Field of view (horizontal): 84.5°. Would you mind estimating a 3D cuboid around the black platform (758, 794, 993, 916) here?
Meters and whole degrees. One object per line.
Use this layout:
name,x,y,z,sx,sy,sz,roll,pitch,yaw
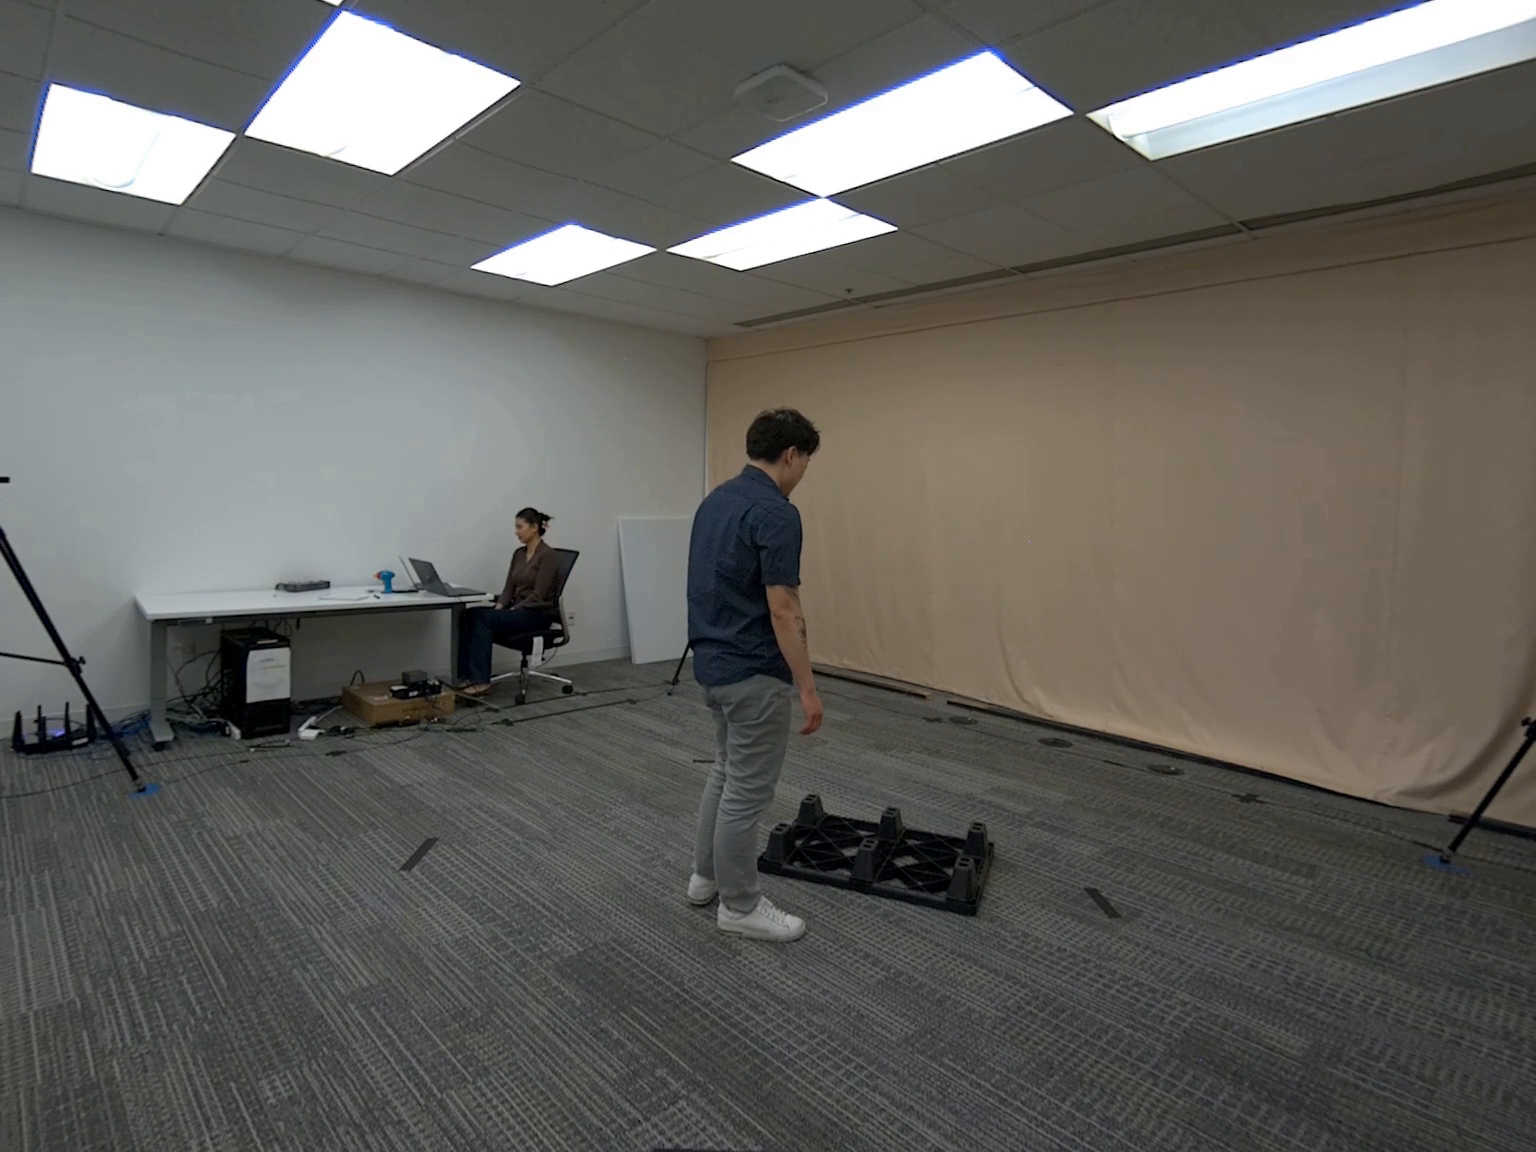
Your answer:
black platform,0.429,1.038,3.258,0.820,0.143,0.596,4,6,22
